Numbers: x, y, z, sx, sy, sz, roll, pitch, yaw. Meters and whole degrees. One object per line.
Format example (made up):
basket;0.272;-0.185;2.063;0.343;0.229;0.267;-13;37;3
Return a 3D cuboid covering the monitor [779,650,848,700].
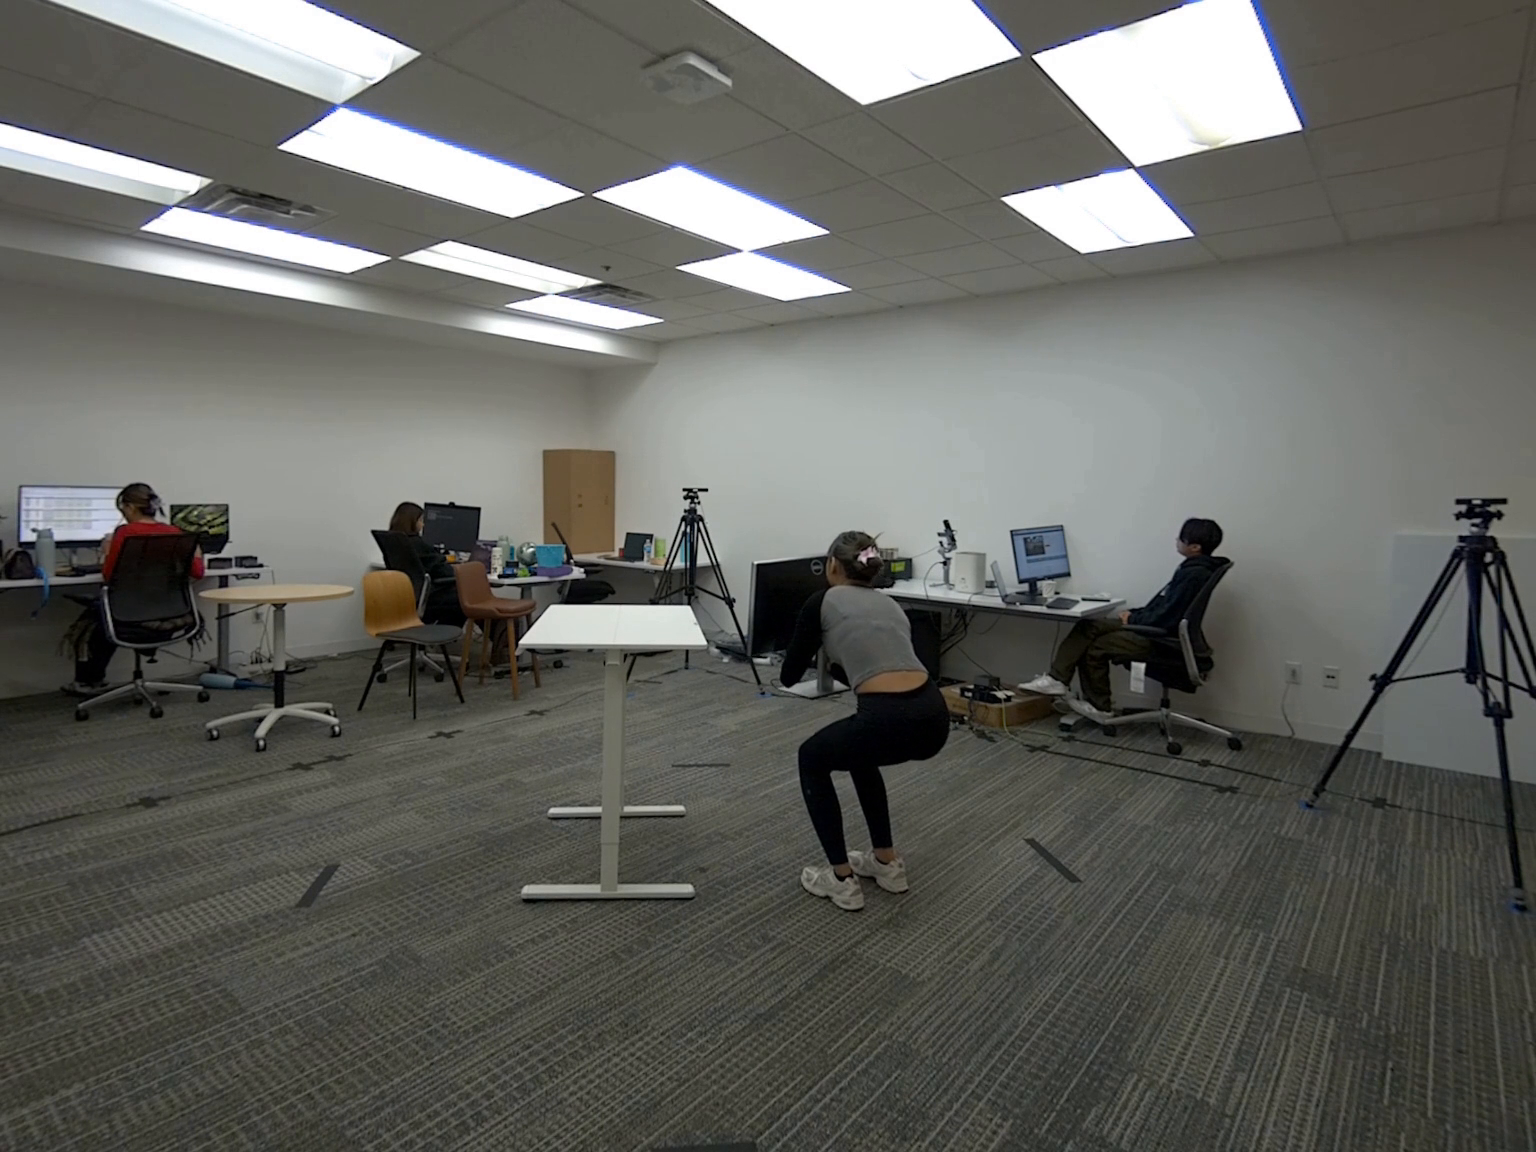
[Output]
monitor;0.185;0.176;3.293;0.524;0.520;0.193;-6;5;-37
